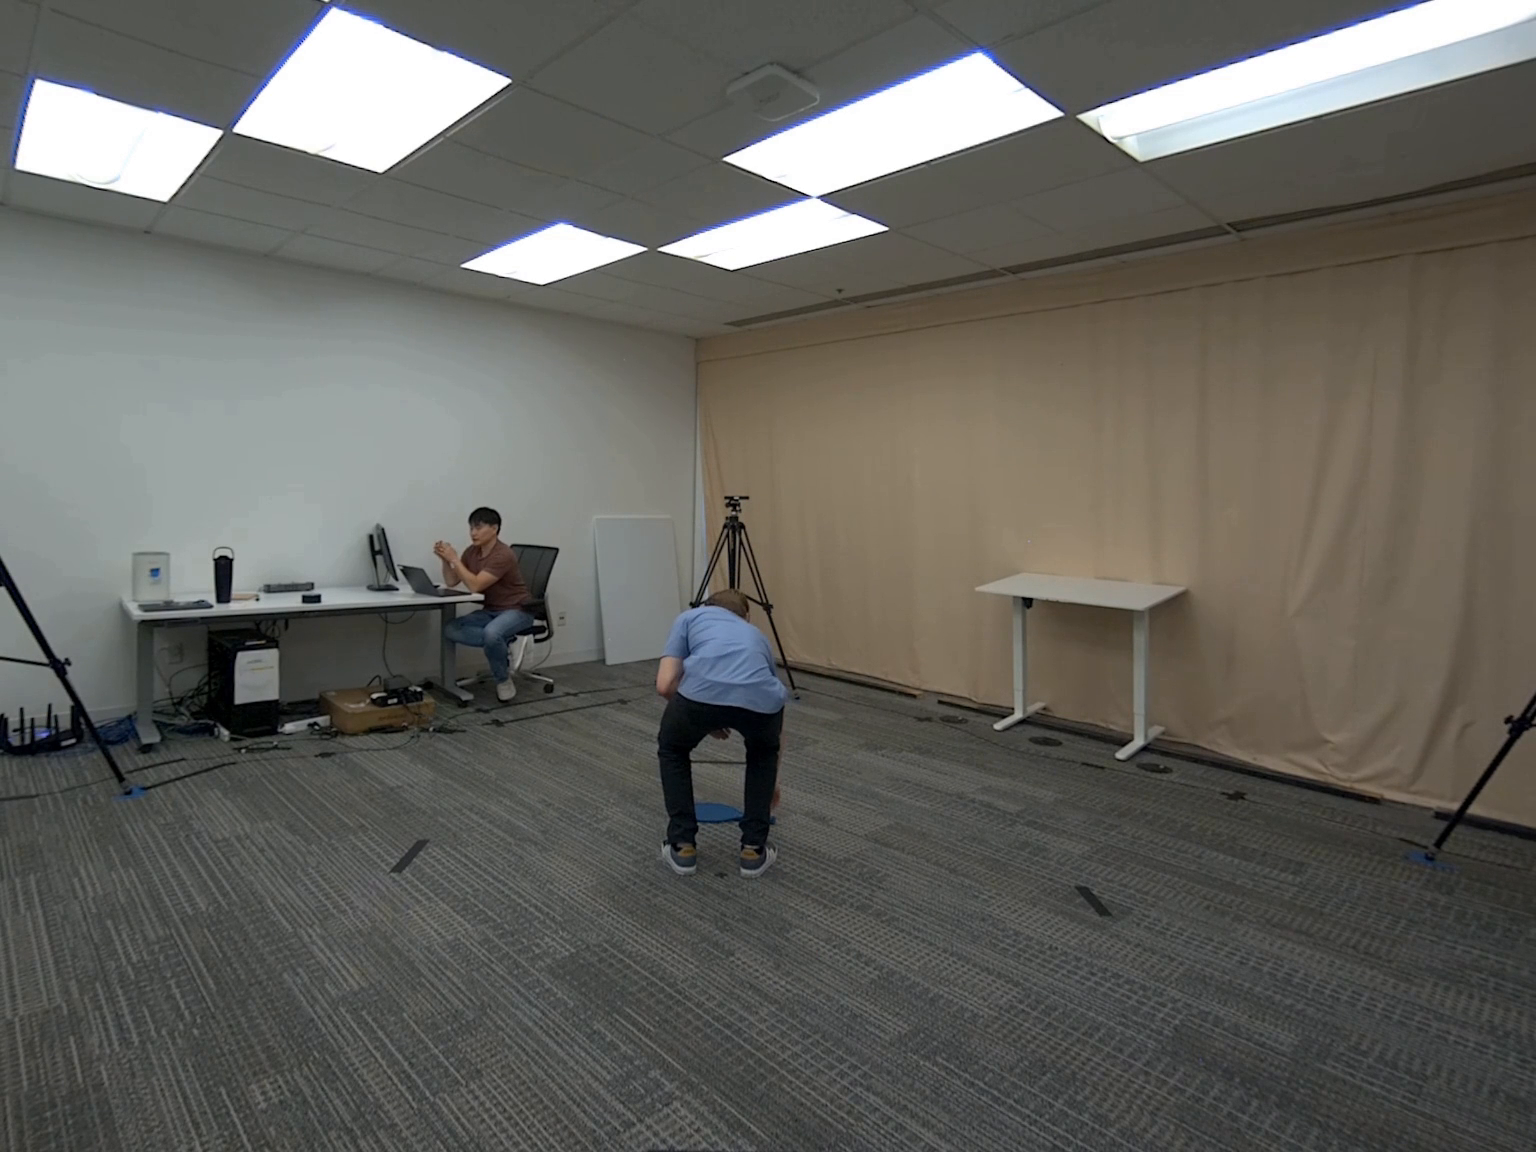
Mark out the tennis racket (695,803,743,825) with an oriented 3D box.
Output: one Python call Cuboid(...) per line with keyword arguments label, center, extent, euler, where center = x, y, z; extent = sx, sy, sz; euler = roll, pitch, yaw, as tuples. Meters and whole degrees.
Cuboid(label="tennis racket", center=(-0.186, 1.037, 3.671), extent=(0.440, 0.031, 0.211), euler=(1, 5, 22))
